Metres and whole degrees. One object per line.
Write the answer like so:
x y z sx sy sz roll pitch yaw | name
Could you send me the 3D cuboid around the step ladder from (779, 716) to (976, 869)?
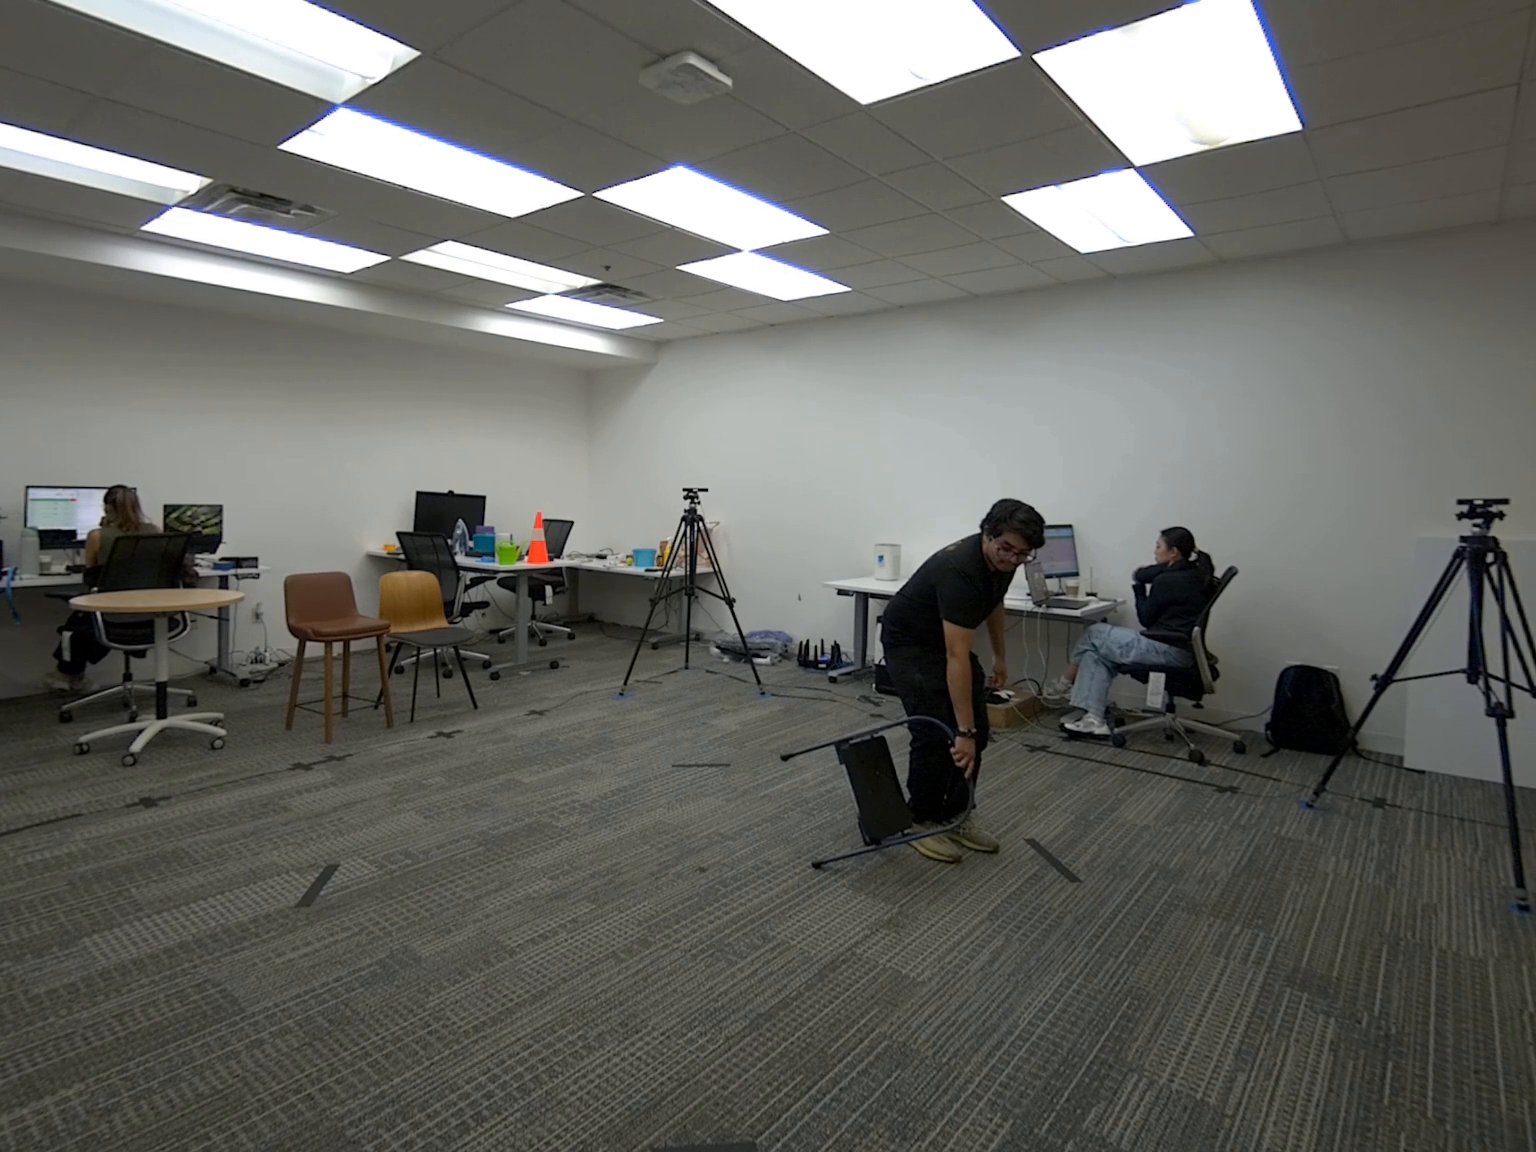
0.419 0.762 3.118 0.614 0.438 0.338 -28 -17 40 | step ladder
